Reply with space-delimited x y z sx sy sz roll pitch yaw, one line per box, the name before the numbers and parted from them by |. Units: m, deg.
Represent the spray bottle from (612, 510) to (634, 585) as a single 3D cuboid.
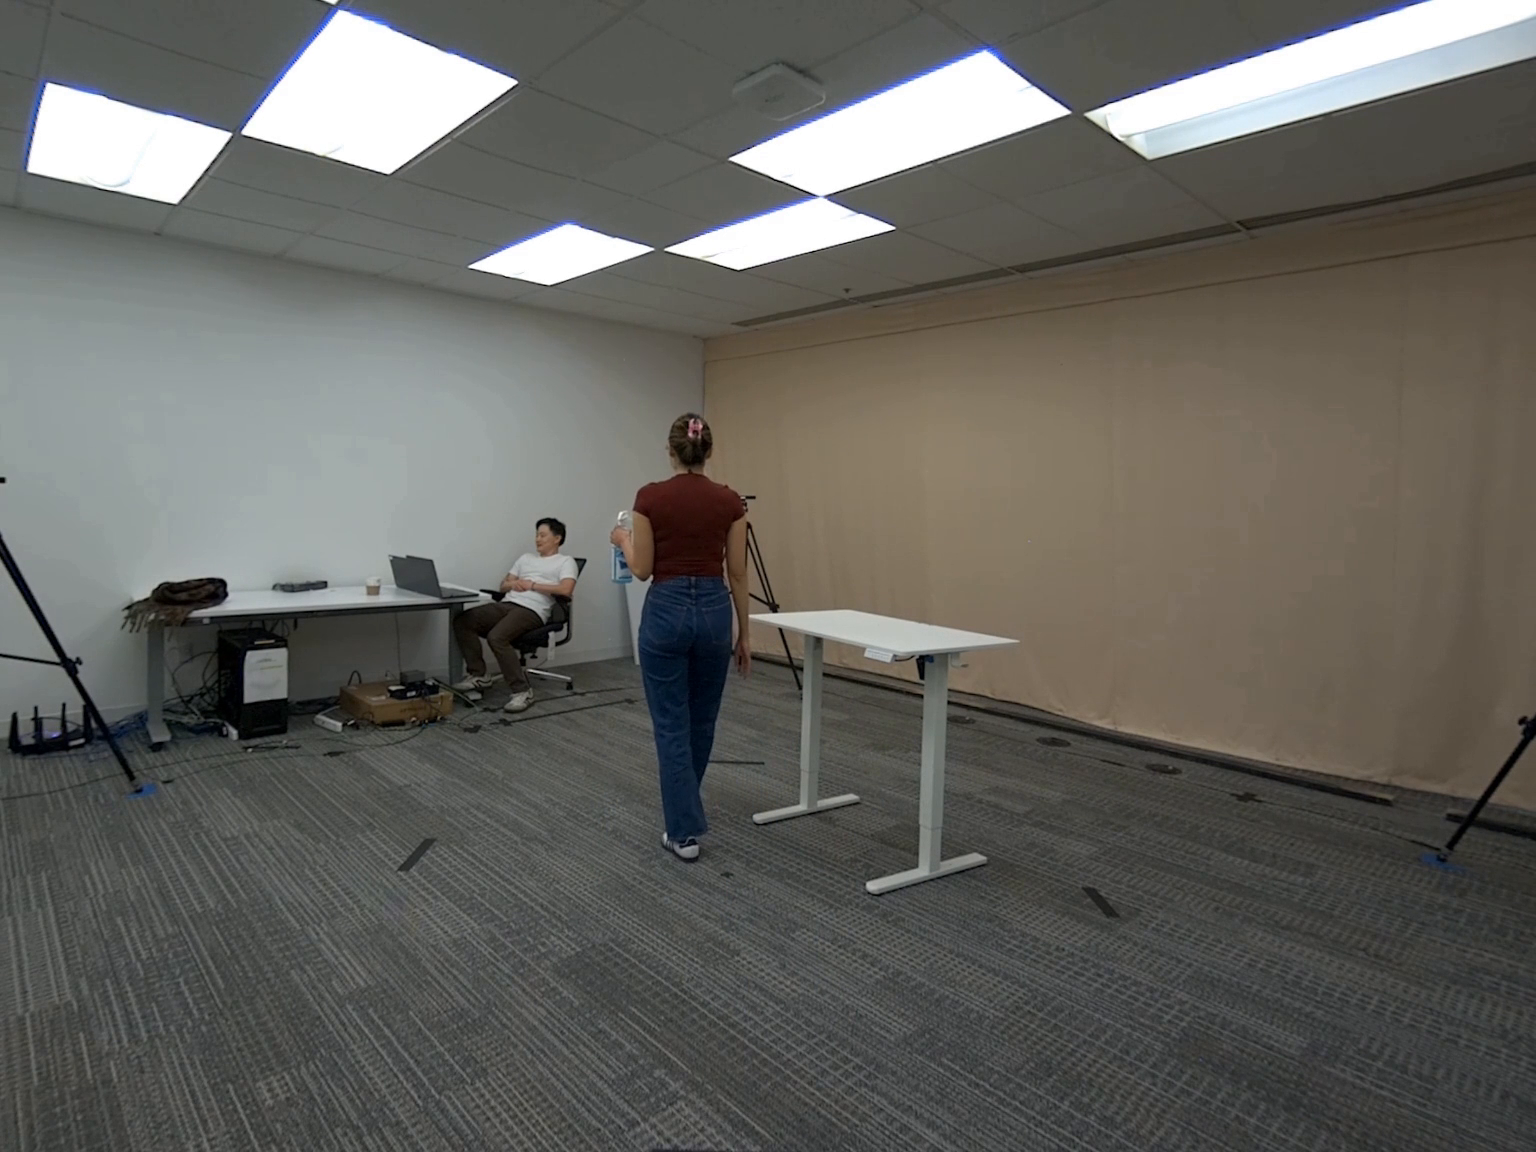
spray bottle | -0.621 -0.122 3.529 0.089 0.297 0.088 4 3 37
